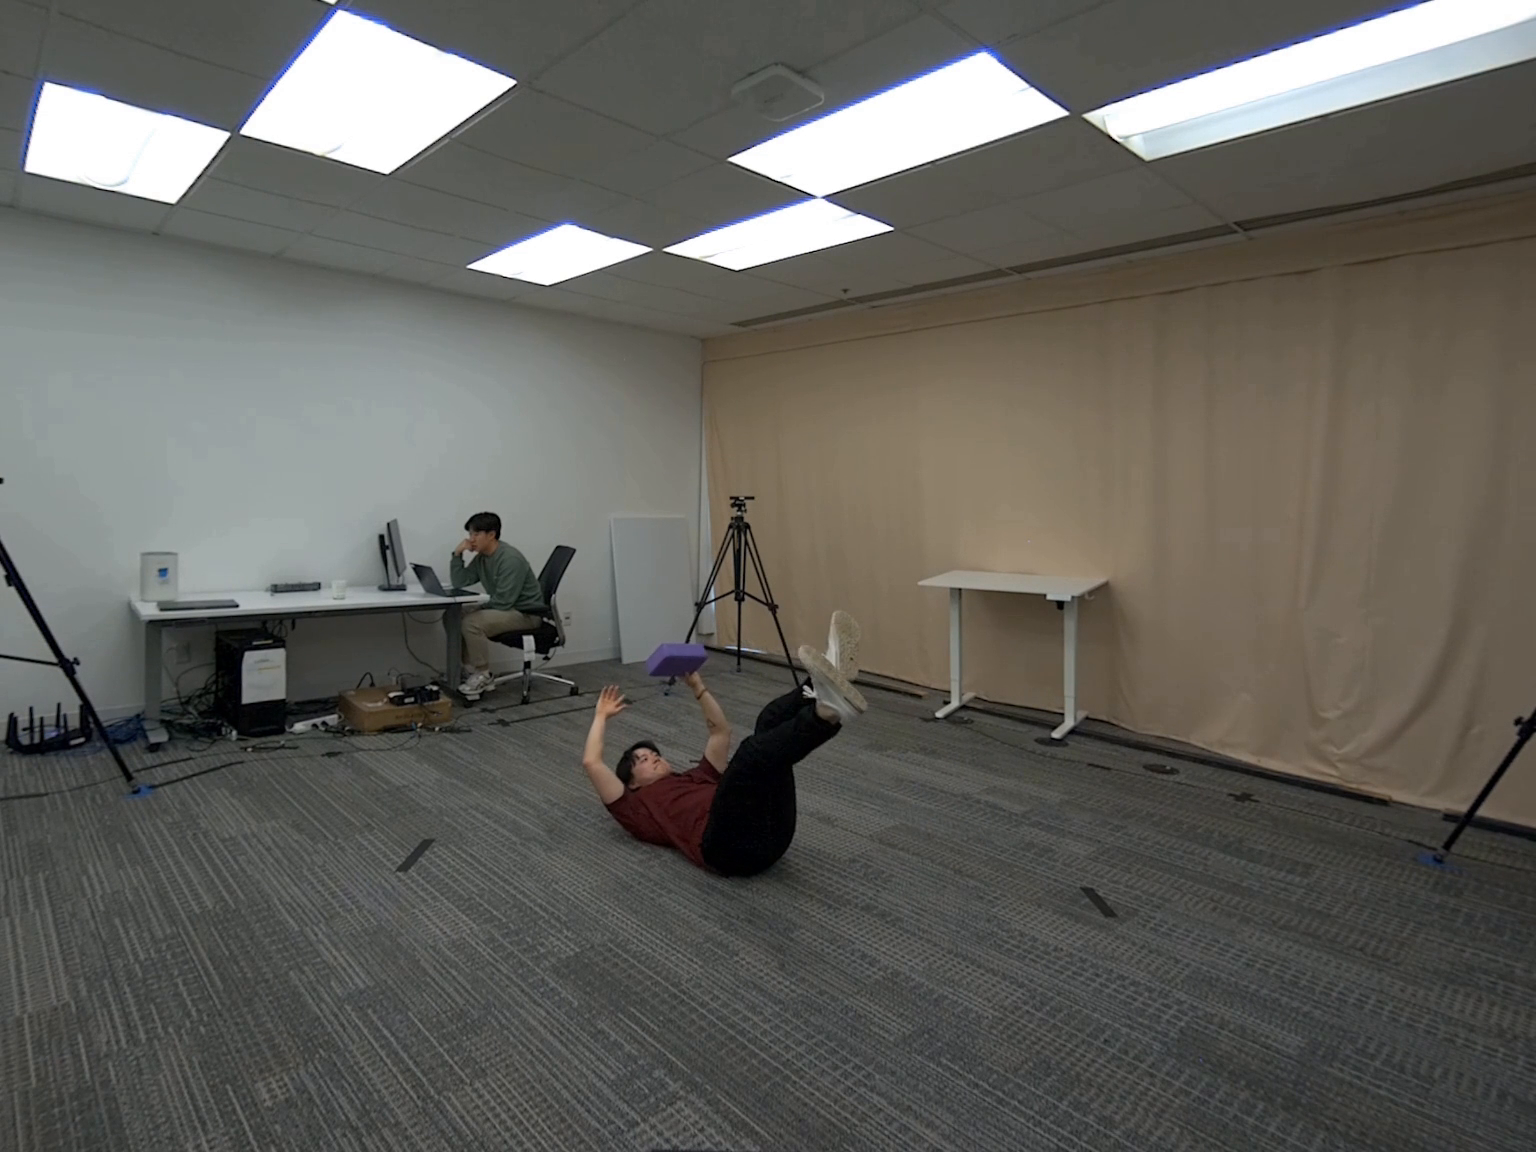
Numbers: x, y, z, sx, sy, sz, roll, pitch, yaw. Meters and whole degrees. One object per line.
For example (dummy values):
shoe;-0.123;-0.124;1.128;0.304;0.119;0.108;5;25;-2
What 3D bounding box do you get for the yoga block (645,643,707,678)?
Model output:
yoga block;-0.386;0.353;3.518;0.223;0.078;0.149;7;-44;-45
